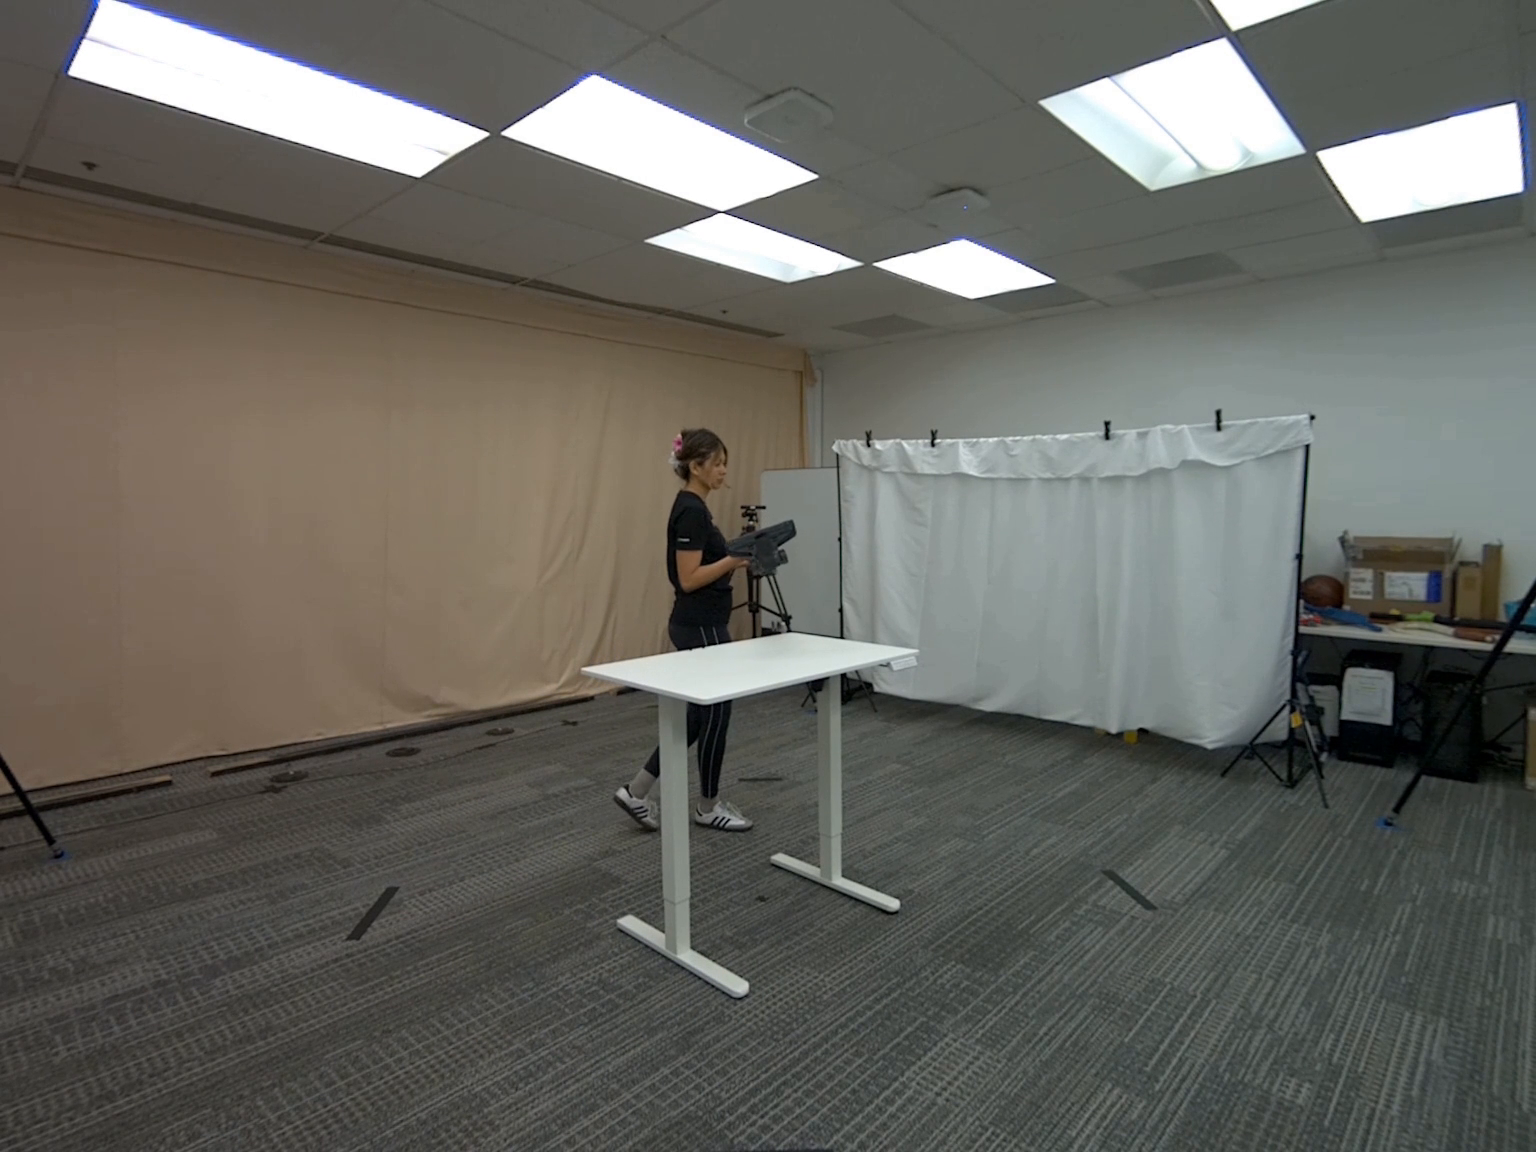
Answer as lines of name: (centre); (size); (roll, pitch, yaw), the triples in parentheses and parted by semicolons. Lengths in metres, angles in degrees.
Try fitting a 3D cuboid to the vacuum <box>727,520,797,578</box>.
vacuum: (-0.003, -0.054, 3.470); (0.253, 0.145, 1.041); (-22, -5, 0)
